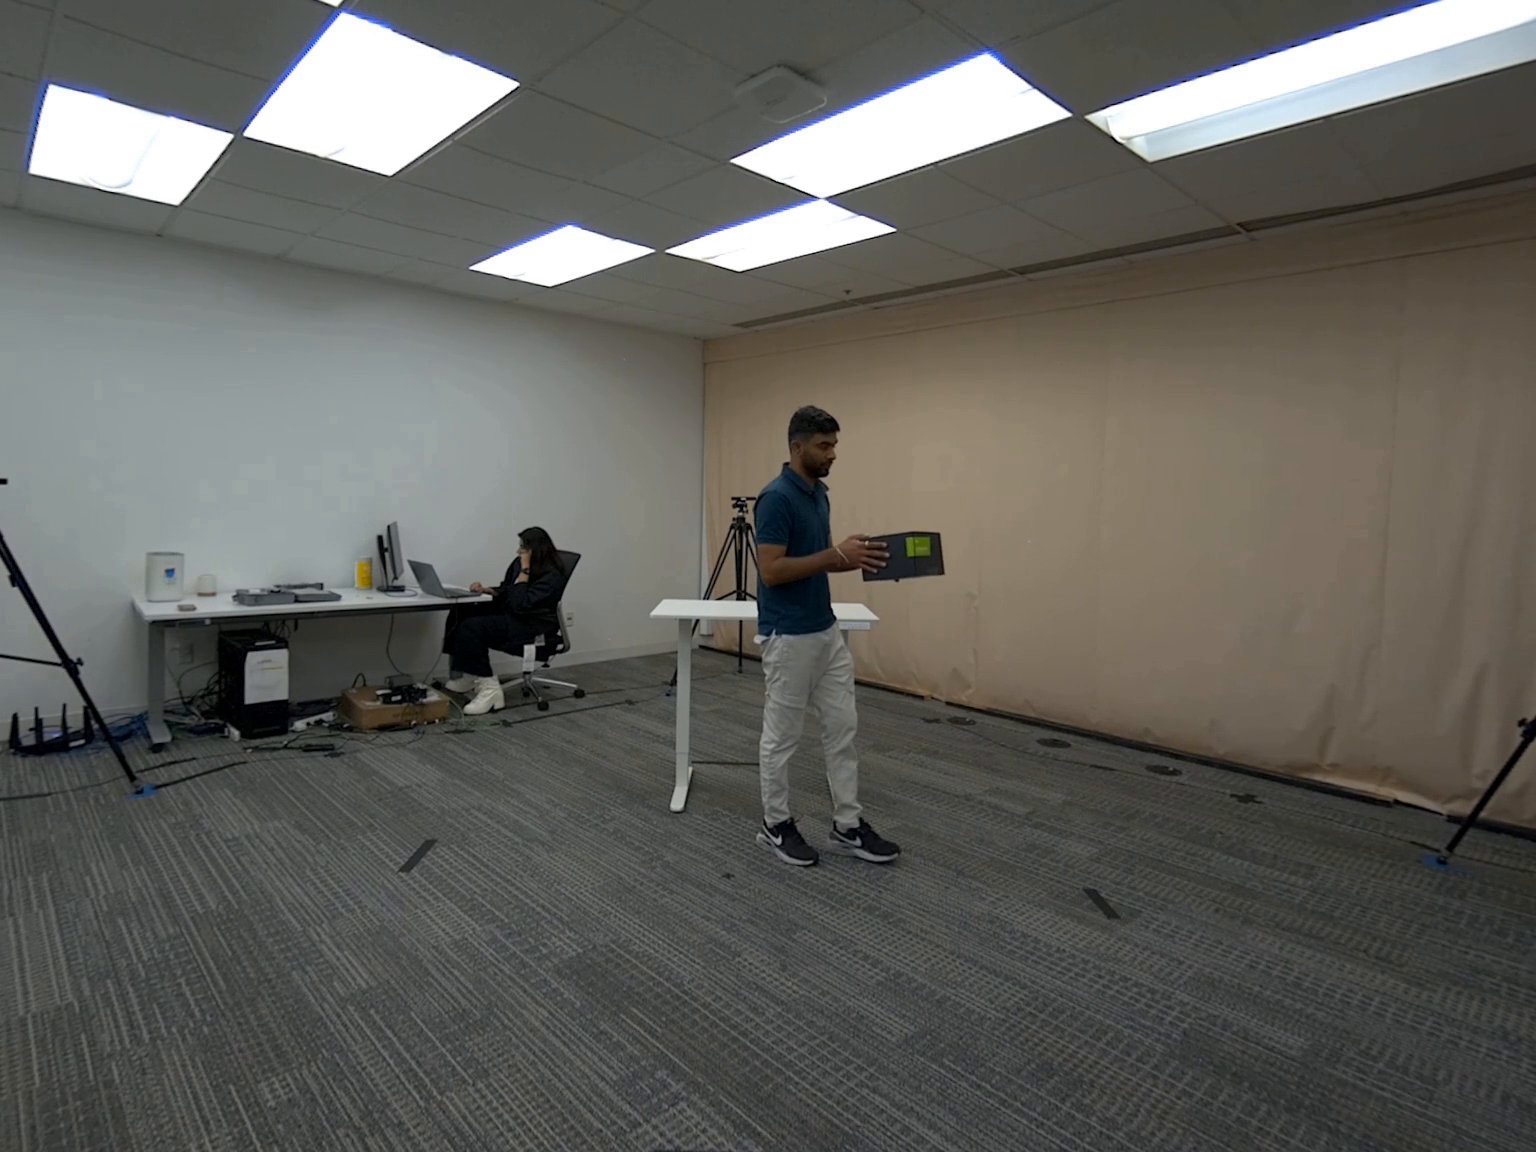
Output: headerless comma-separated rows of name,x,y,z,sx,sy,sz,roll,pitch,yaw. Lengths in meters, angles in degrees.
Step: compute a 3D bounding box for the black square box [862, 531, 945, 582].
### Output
black square box,0.474,-0.069,3.034,0.221,0.156,0.222,-8,-5,38
